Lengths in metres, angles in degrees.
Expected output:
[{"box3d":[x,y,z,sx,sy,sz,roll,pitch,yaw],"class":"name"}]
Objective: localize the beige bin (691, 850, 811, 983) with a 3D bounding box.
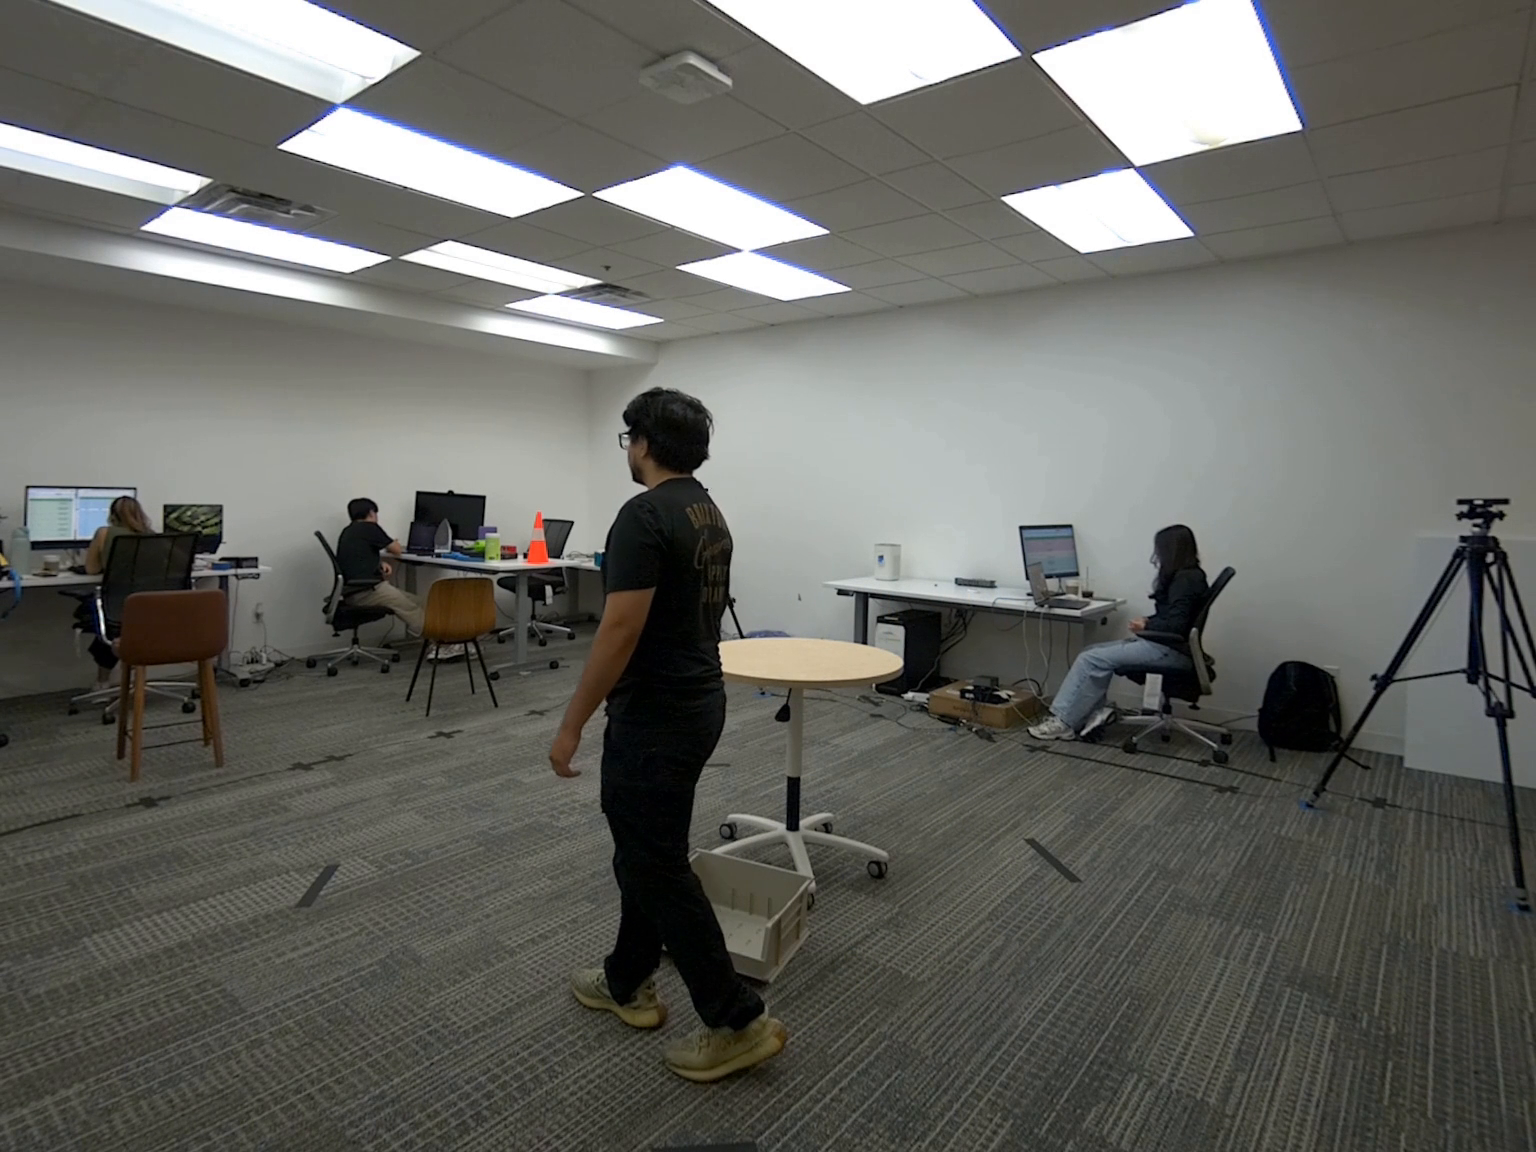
[{"box3d":[-0.129,1.033,2.600,0.433,0.188,0.368,4,5,25],"class":"beige bin"}]
